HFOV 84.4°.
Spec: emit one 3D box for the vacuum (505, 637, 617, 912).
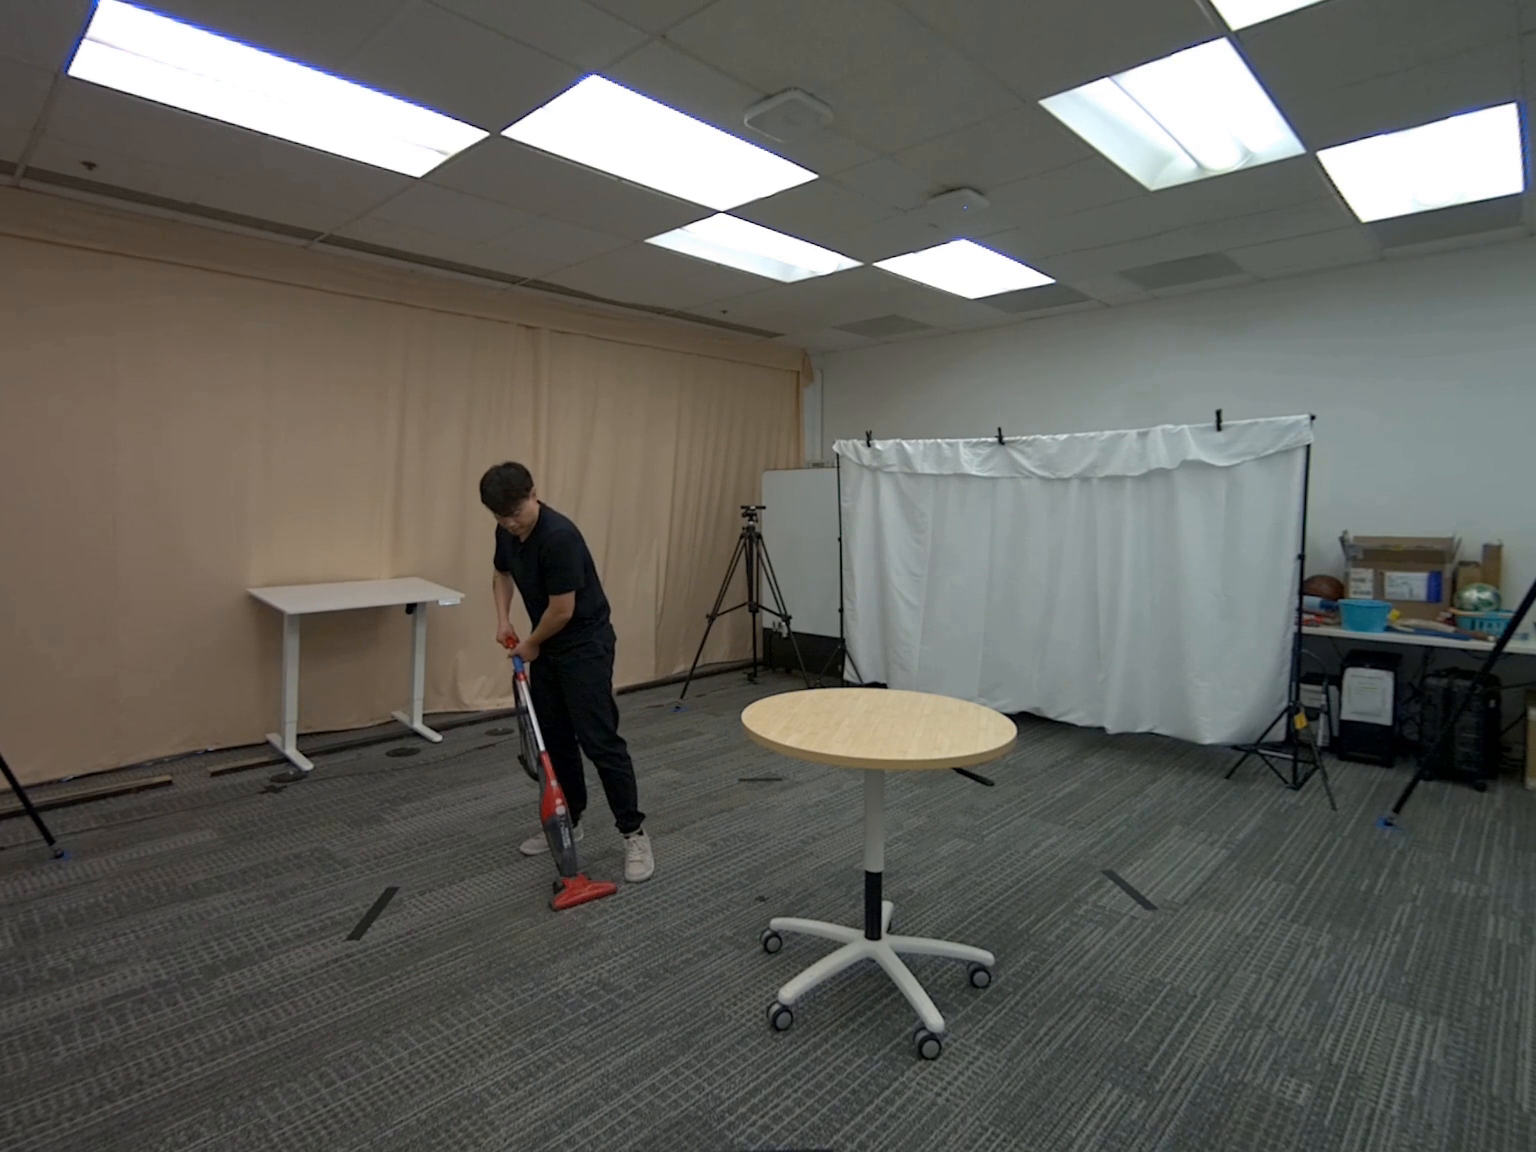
[{"bbox_3d":[-0.870,0.700,3.218,0.245,1.074,0.145,-3,-33,-40],"label":"vacuum"}]
